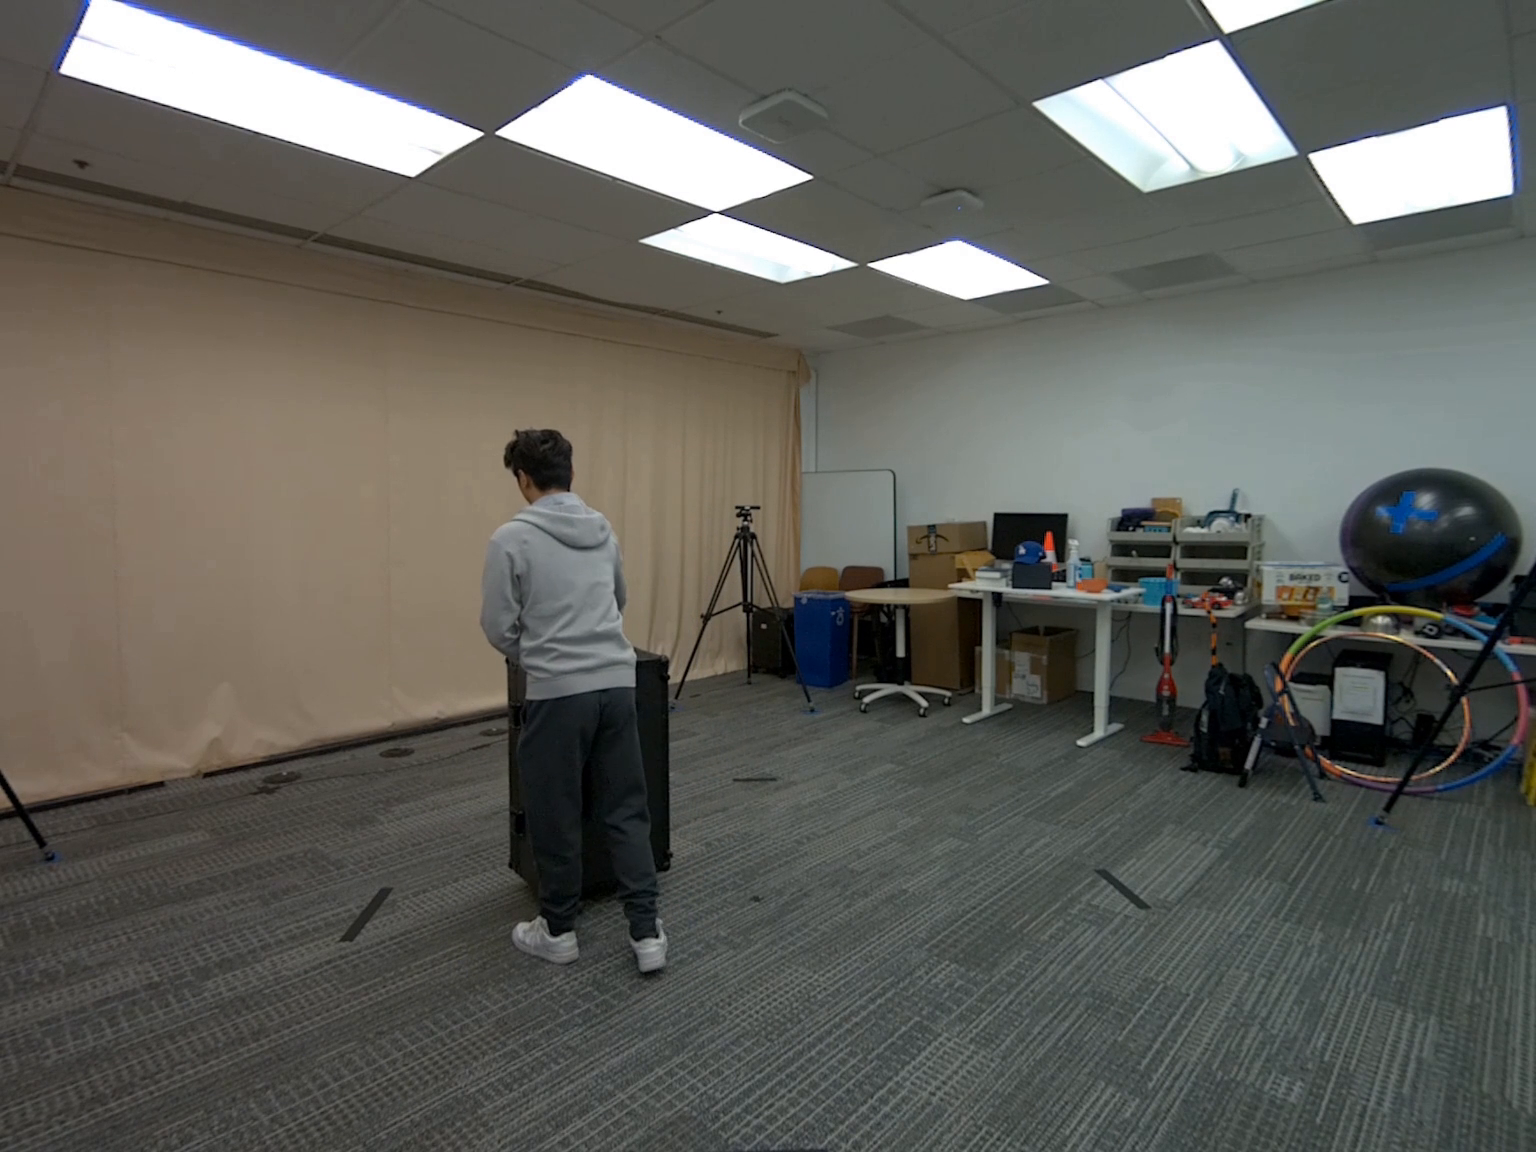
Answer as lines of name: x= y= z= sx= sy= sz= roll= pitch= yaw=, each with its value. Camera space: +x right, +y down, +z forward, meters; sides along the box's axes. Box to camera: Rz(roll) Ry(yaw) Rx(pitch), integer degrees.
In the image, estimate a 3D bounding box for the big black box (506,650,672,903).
big black box: x=-0.644 y=0.716 z=3.058 sx=0.506 sy=0.859 sz=0.409 roll=-2 pitch=4 yaw=-35
